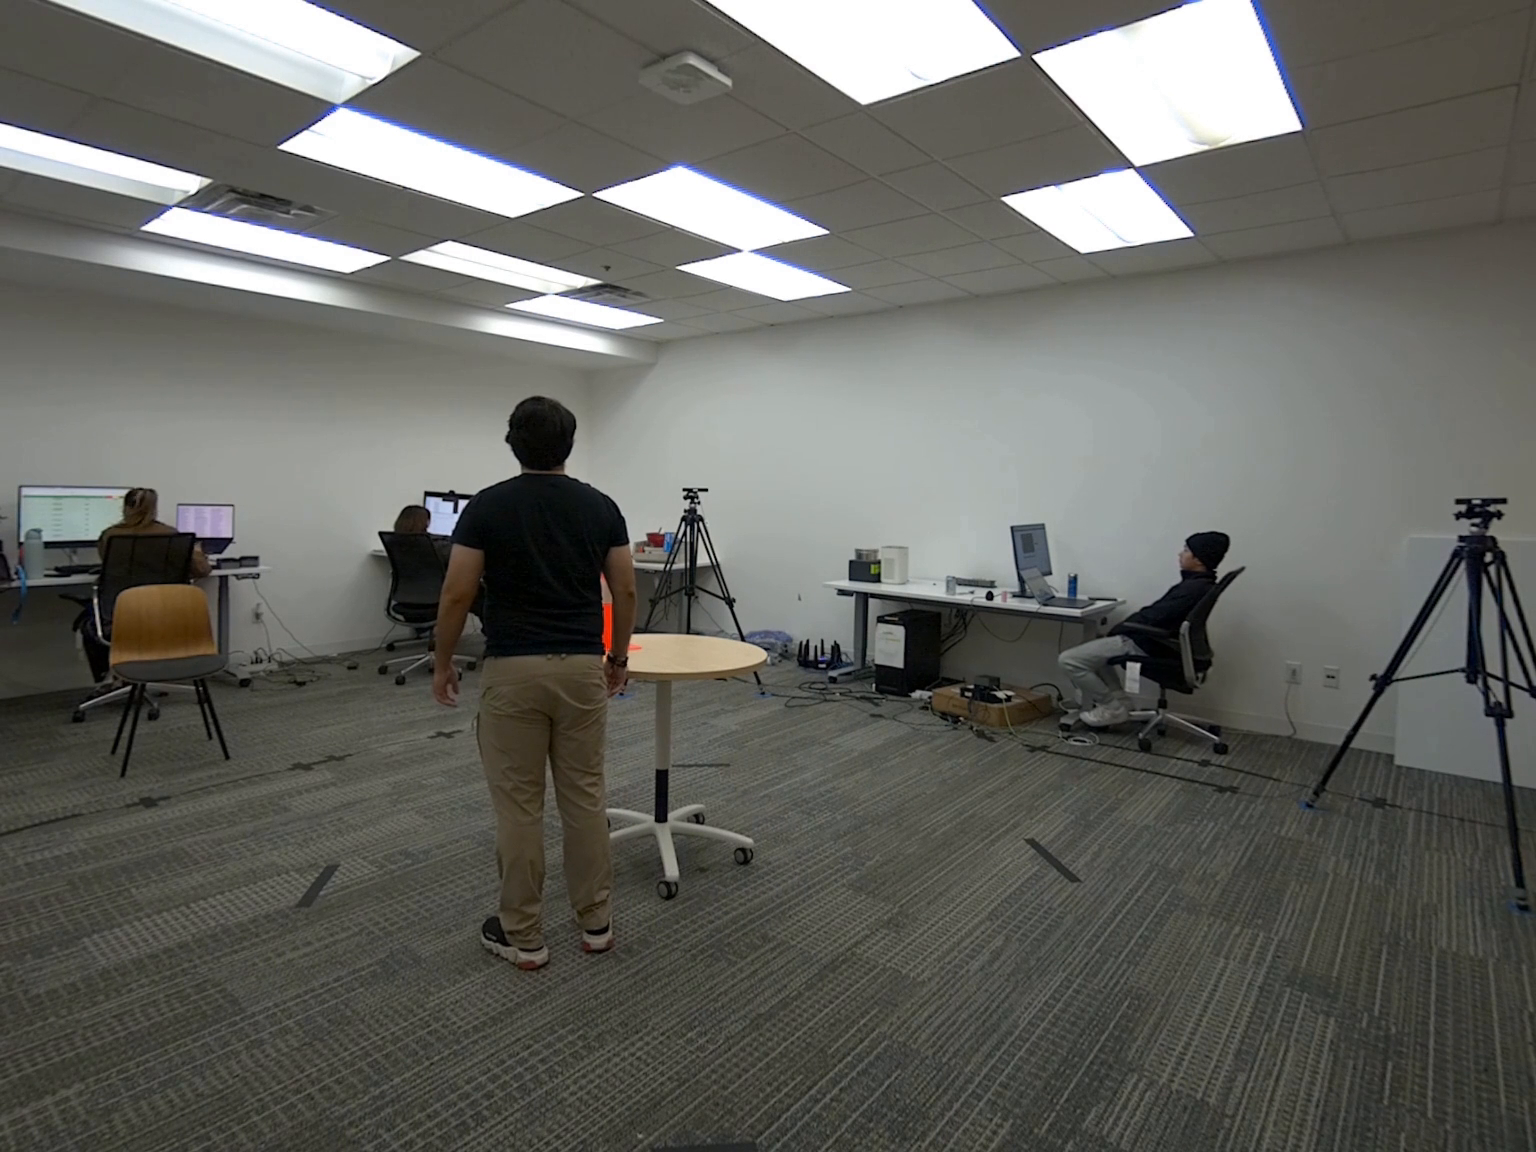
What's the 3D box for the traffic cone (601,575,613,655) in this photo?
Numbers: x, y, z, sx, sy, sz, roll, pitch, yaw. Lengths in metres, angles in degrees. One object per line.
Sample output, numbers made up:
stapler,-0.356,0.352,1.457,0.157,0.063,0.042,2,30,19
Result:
traffic cone,-0.606,0.078,3.221,0.197,0.382,0.212,-1,5,-39
